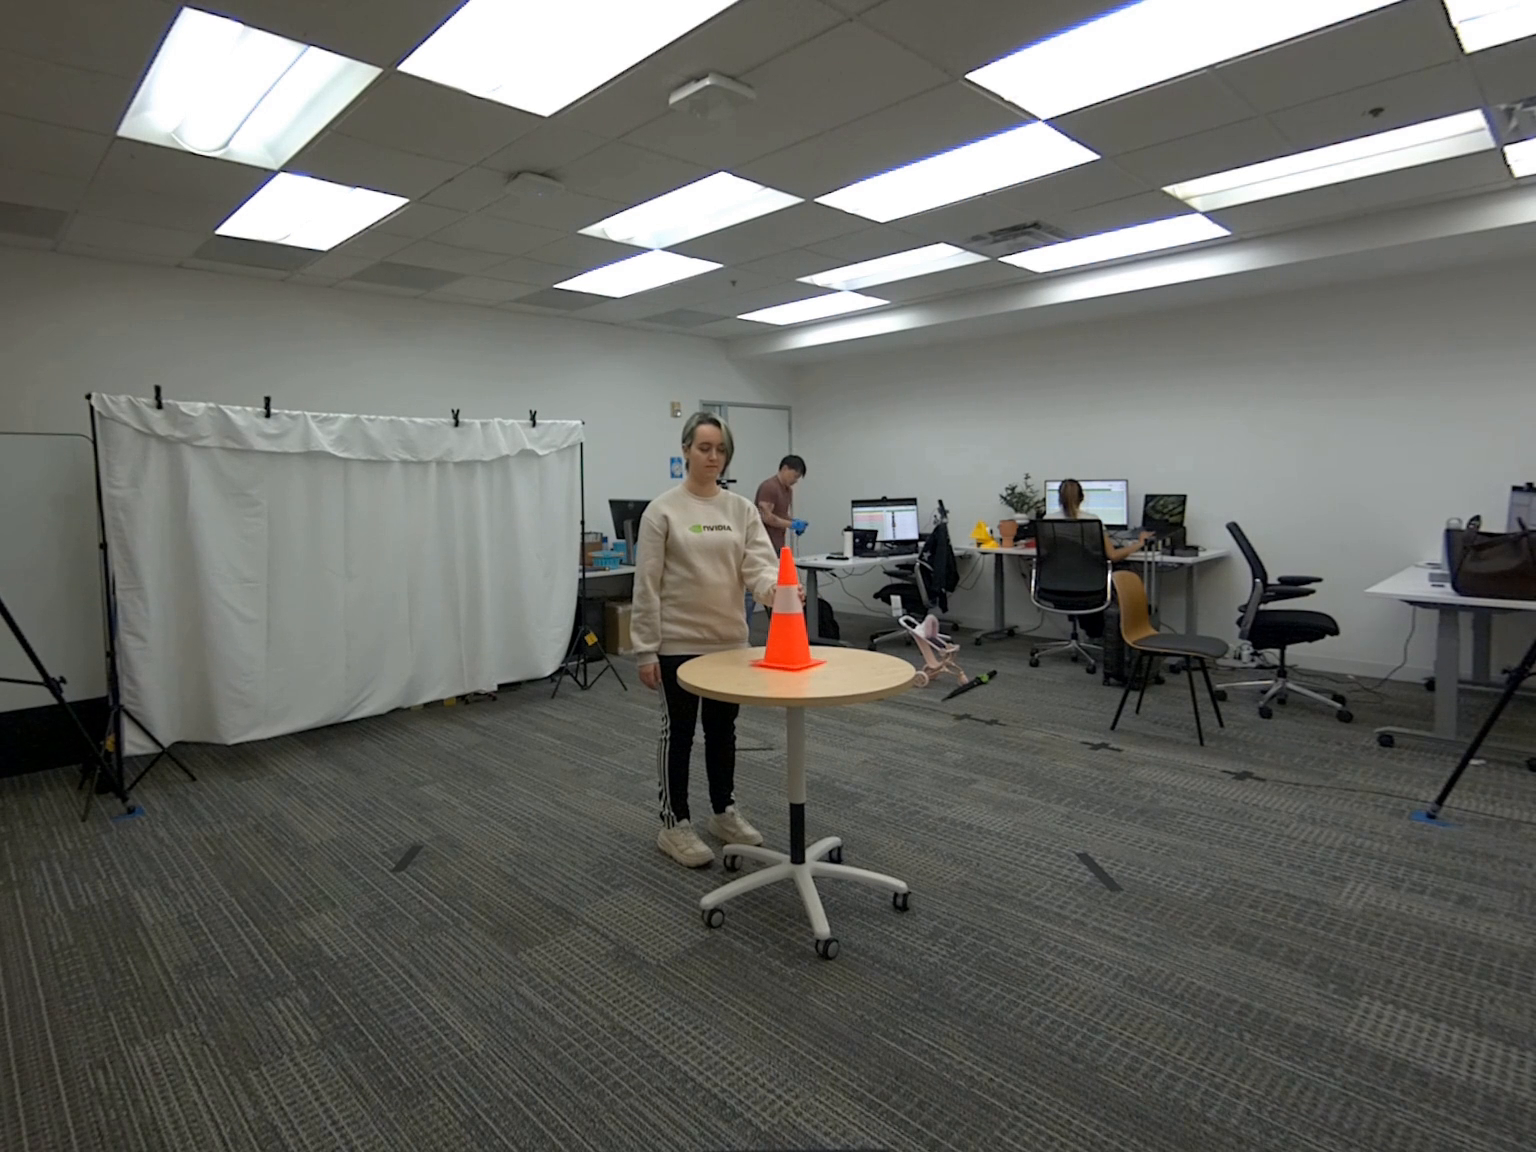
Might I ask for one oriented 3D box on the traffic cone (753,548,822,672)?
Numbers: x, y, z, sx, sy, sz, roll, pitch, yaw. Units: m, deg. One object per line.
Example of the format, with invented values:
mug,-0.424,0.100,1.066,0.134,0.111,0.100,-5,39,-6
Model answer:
traffic cone,0.061,0.100,2.837,0.208,0.383,0.200,-1,1,30
